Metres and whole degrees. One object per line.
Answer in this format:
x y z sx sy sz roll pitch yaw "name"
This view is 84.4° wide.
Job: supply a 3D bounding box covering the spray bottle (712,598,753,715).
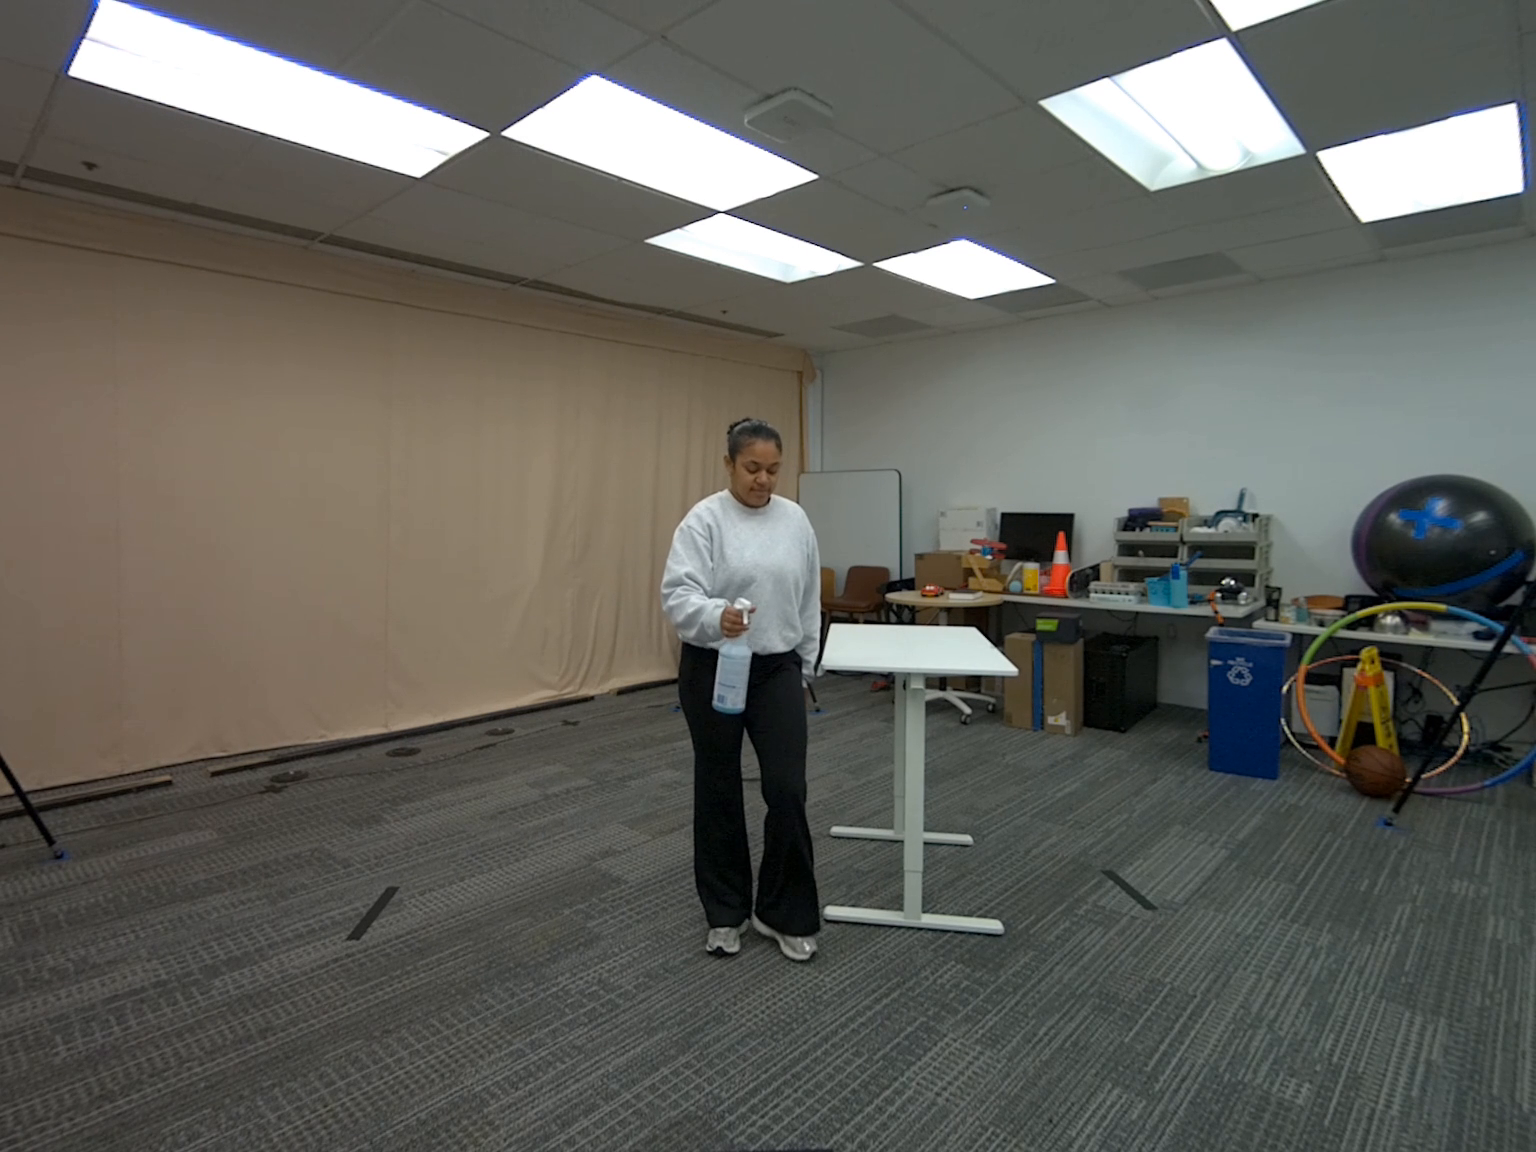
-0.077 0.215 2.187 0.088 0.296 0.090 8 9 5 "spray bottle"
